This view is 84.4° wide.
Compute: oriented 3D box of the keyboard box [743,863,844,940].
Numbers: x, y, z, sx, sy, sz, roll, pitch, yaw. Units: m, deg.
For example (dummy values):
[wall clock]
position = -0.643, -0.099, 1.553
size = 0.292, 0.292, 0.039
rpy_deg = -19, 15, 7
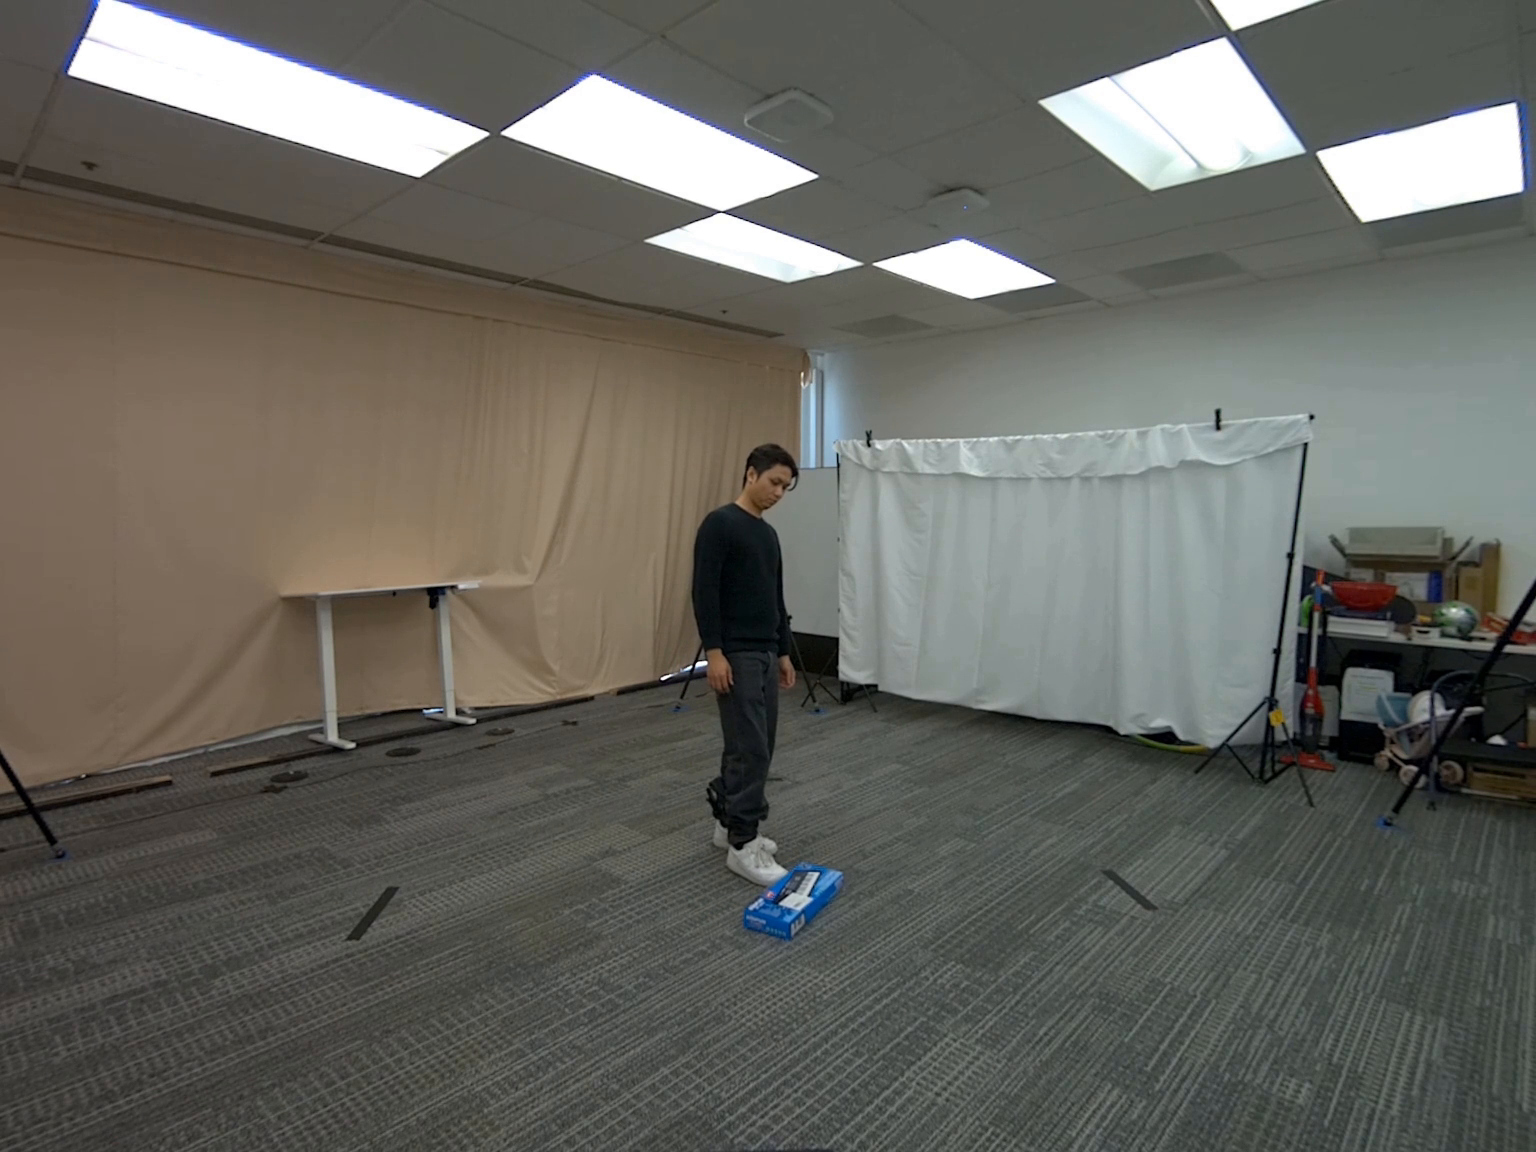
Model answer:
[keyboard box]
position = 0.103, 1.120, 2.917
size = 0.181, 0.059, 0.425
rpy_deg = 3, 6, 29
